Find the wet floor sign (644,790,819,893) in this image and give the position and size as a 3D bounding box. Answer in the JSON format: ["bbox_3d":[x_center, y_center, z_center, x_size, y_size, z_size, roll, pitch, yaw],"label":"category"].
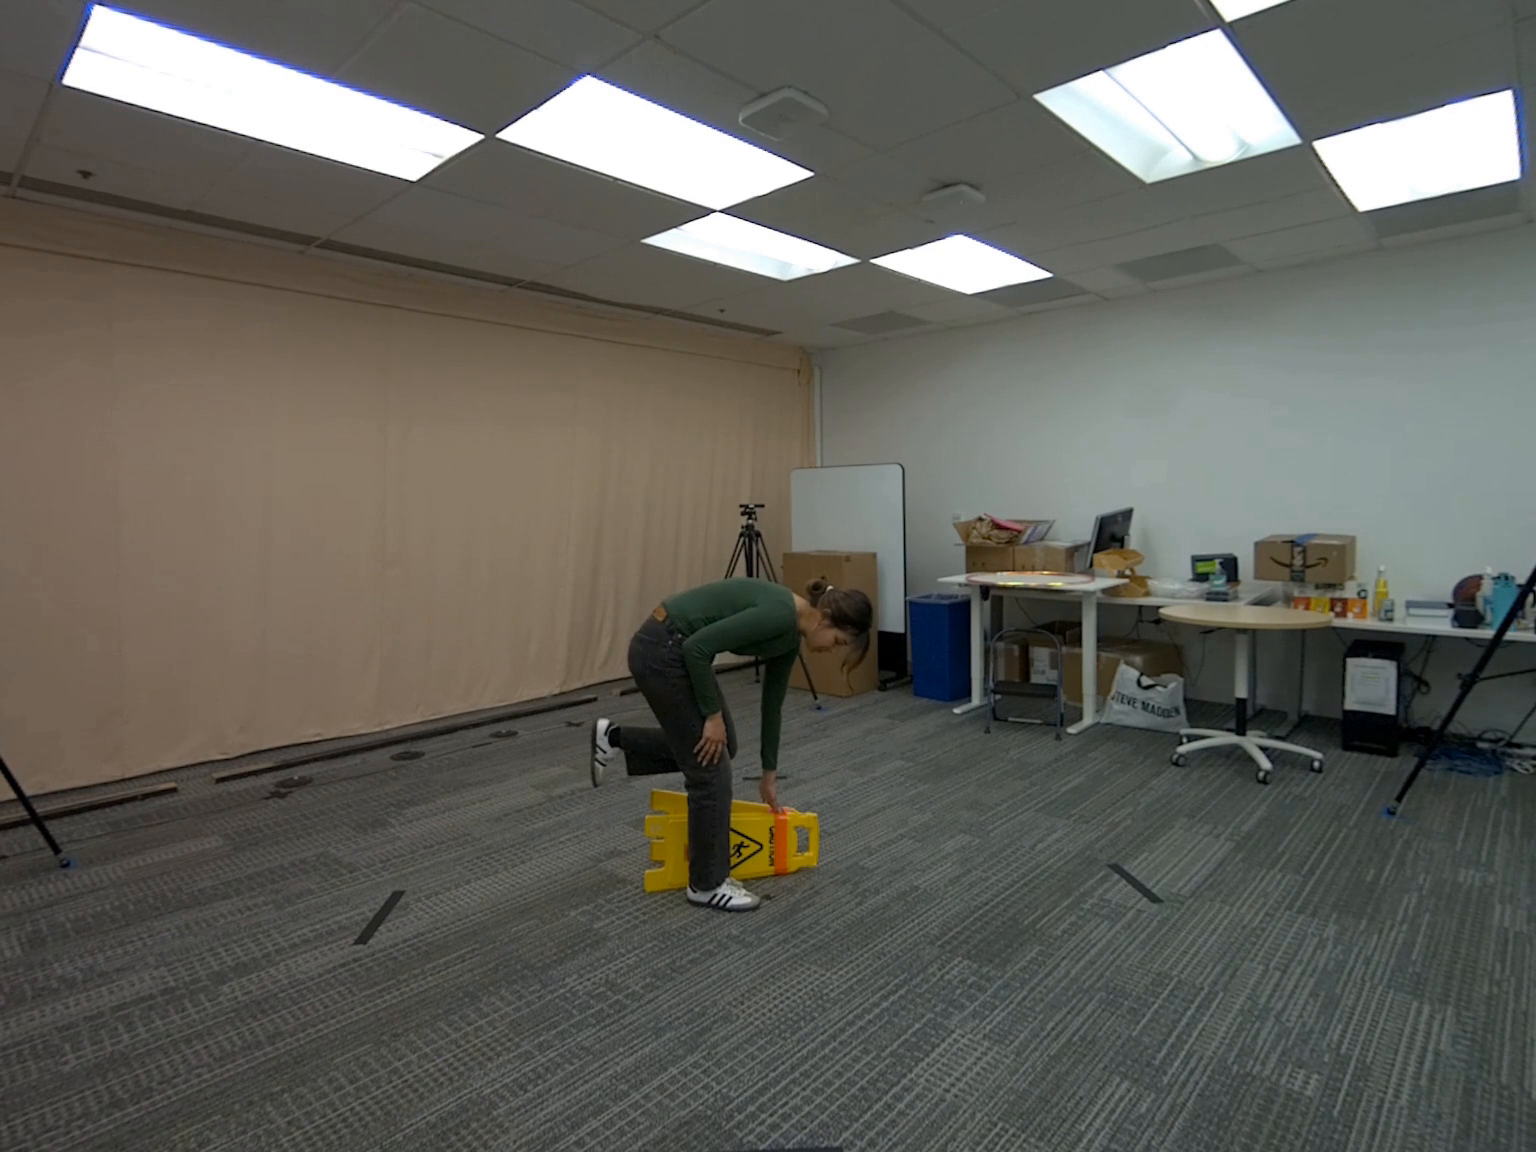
[{"bbox_3d":[-0.127,0.990,3.184,0.645,0.282,0.290,1,3,-1],"label":"wet floor sign"}]
